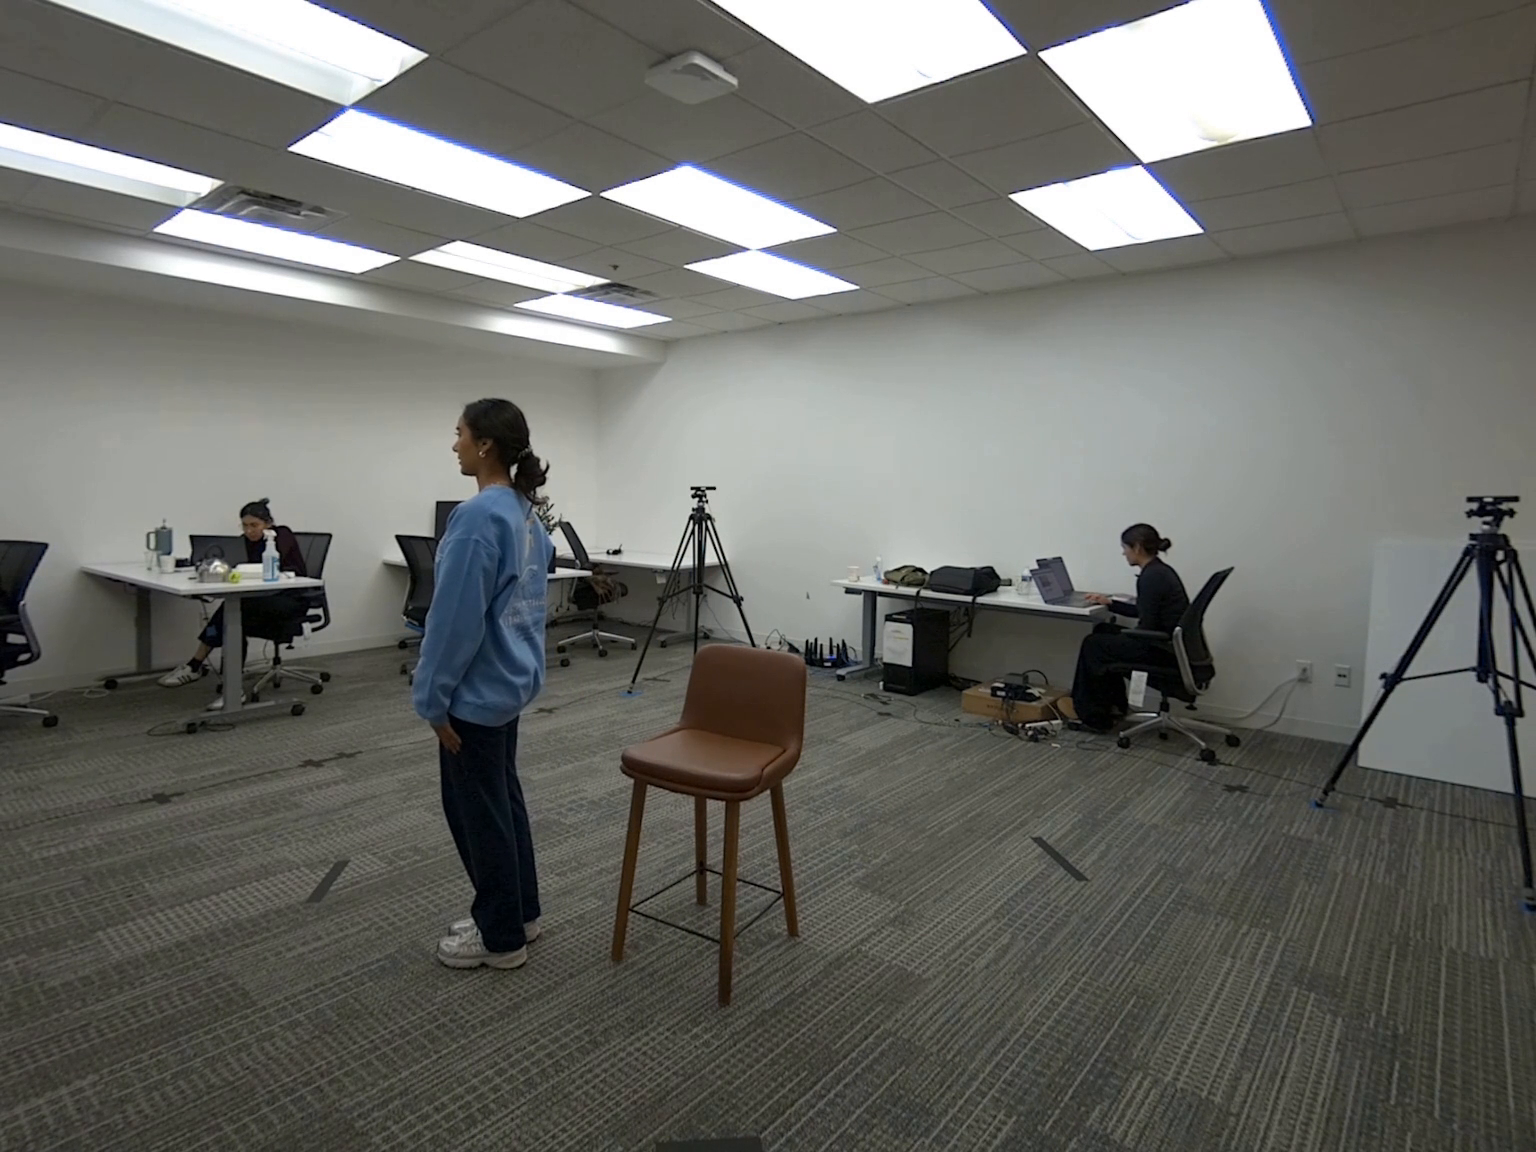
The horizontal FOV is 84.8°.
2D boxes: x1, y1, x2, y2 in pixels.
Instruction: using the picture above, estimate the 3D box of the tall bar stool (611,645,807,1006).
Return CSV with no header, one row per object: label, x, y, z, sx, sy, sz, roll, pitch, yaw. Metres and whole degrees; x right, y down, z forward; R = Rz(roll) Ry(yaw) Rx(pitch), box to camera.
tall bar stool,-0.170,0.689,2.545,0.470,0.888,0.454,4,3,31
